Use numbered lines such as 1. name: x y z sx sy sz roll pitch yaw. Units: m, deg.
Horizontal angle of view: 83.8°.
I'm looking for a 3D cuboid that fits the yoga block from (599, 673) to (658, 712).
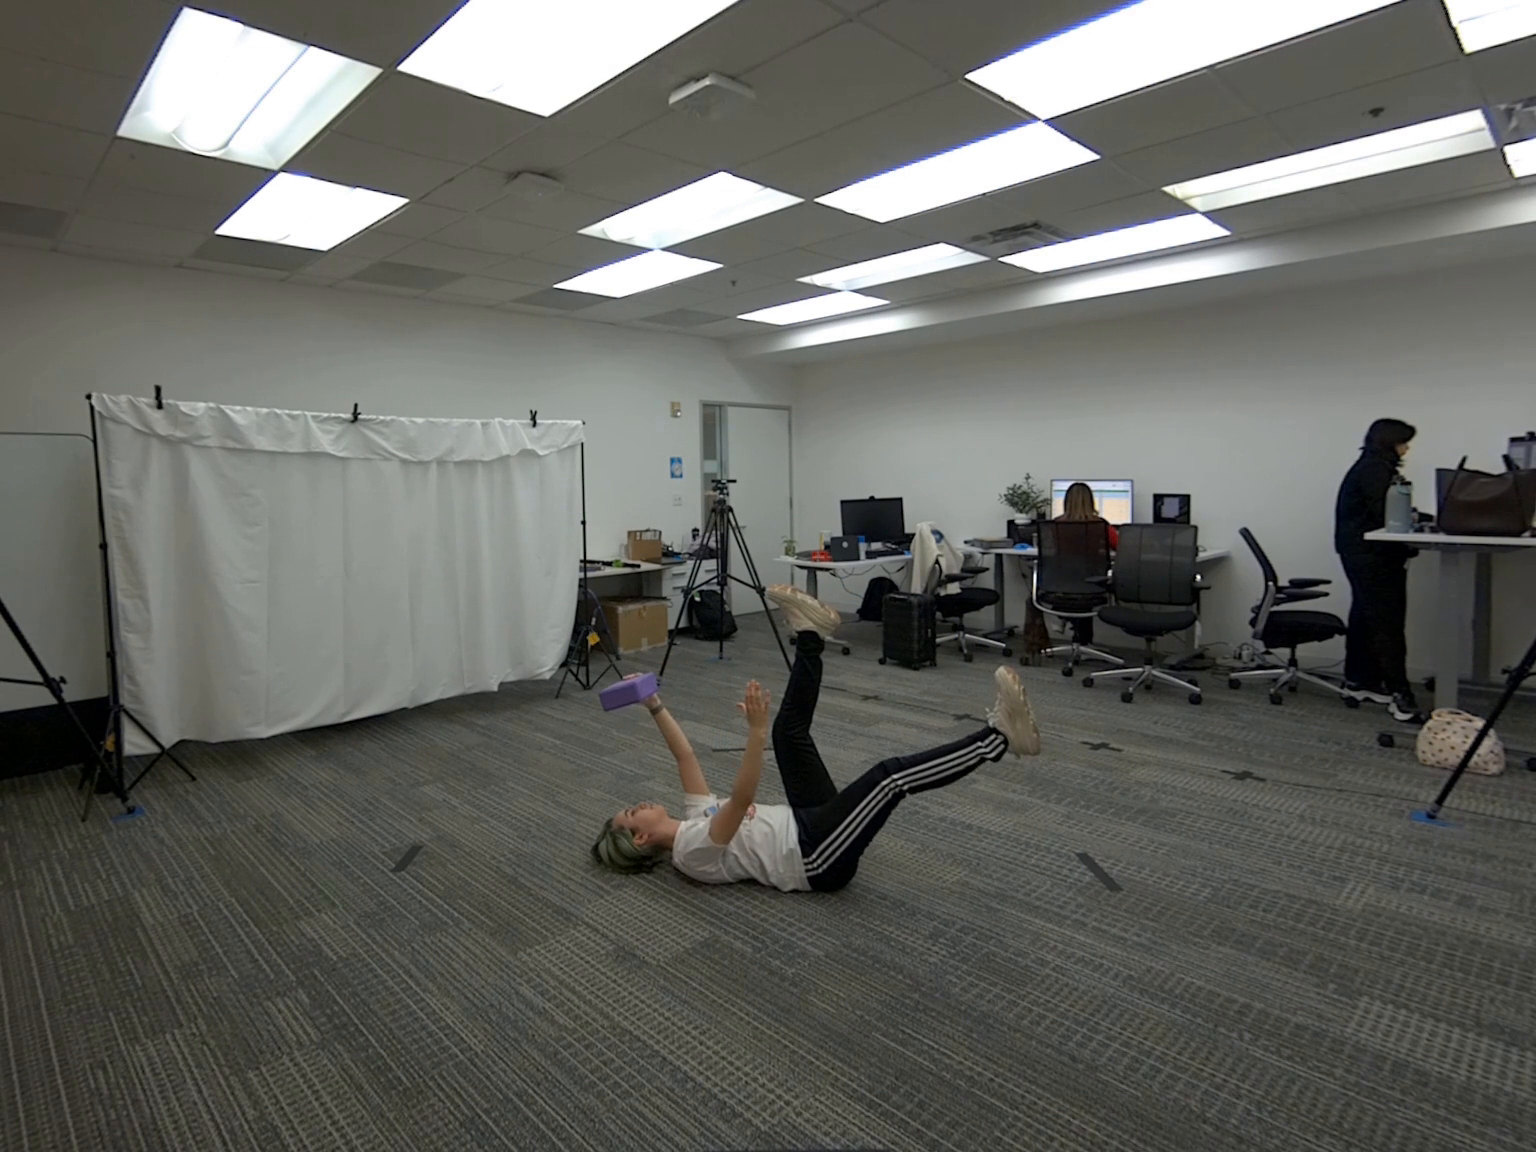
1. yoga block: -0.502 0.417 3.117 0.150 0.076 0.227 -16 -1 7
